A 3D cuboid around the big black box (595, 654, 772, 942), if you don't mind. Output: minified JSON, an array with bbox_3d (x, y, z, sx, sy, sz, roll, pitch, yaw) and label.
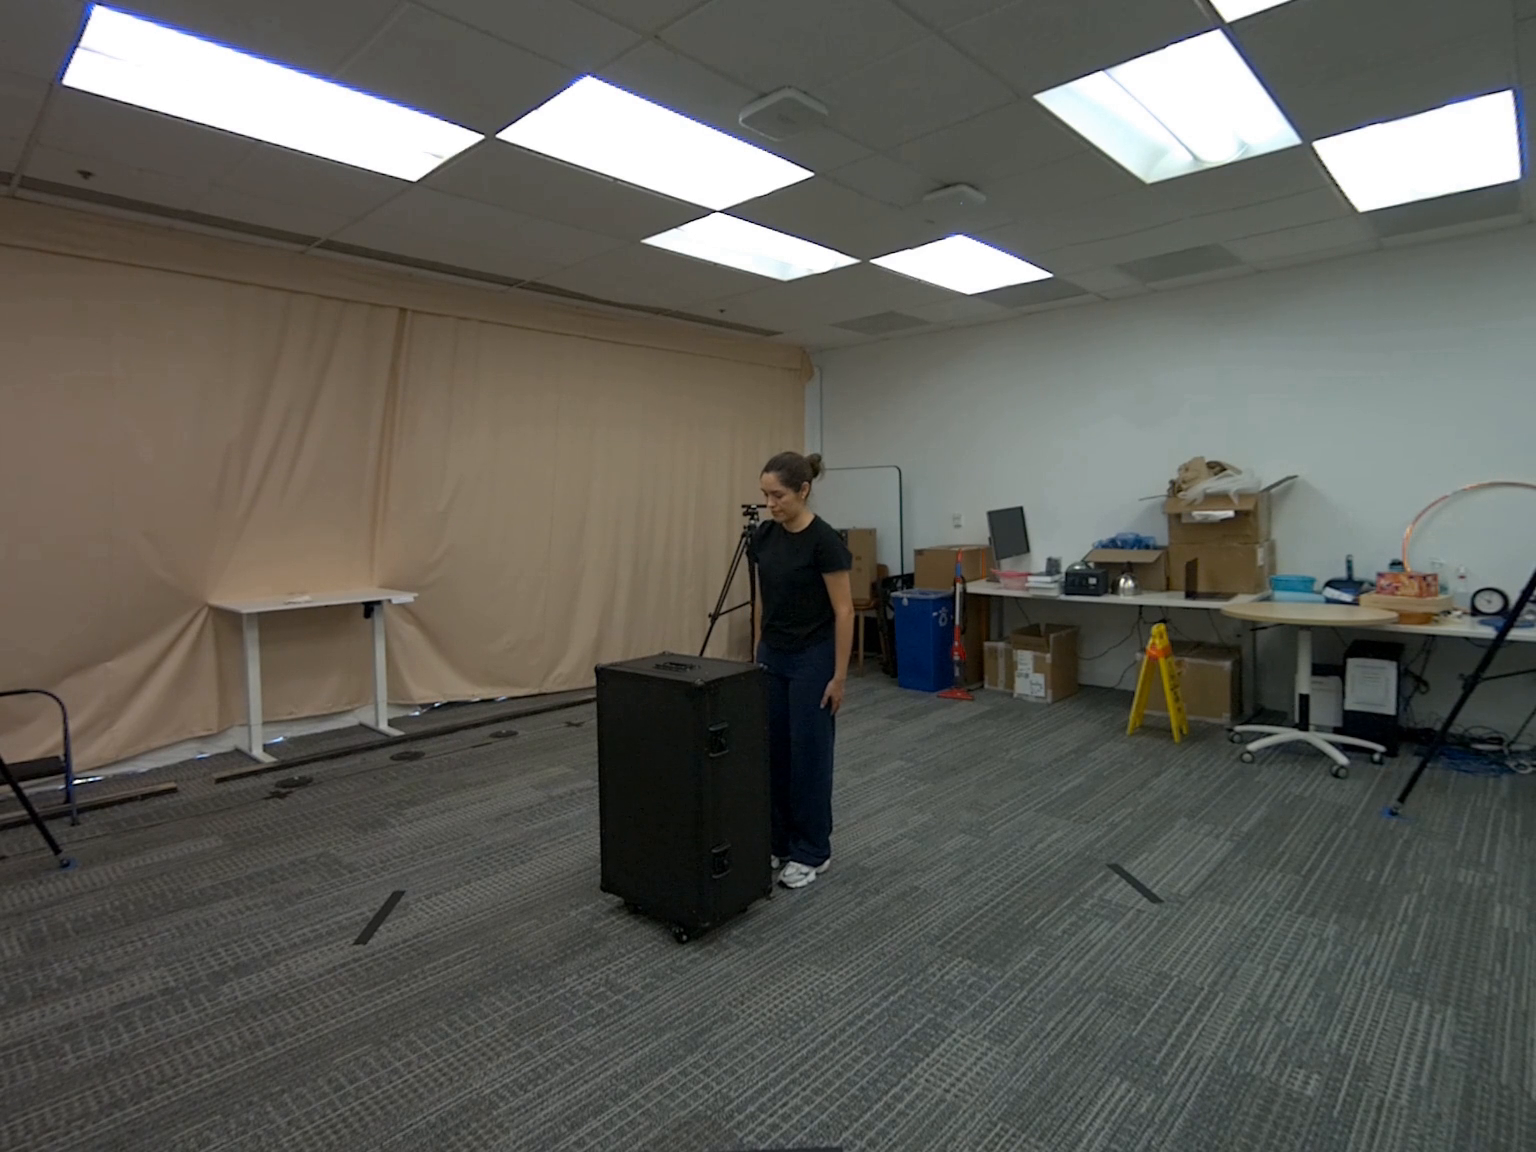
[{"bbox_3d":[-0.278,0.731,2.868,0.538,0.859,0.384,2,4,38],"label":"big black box"}]
